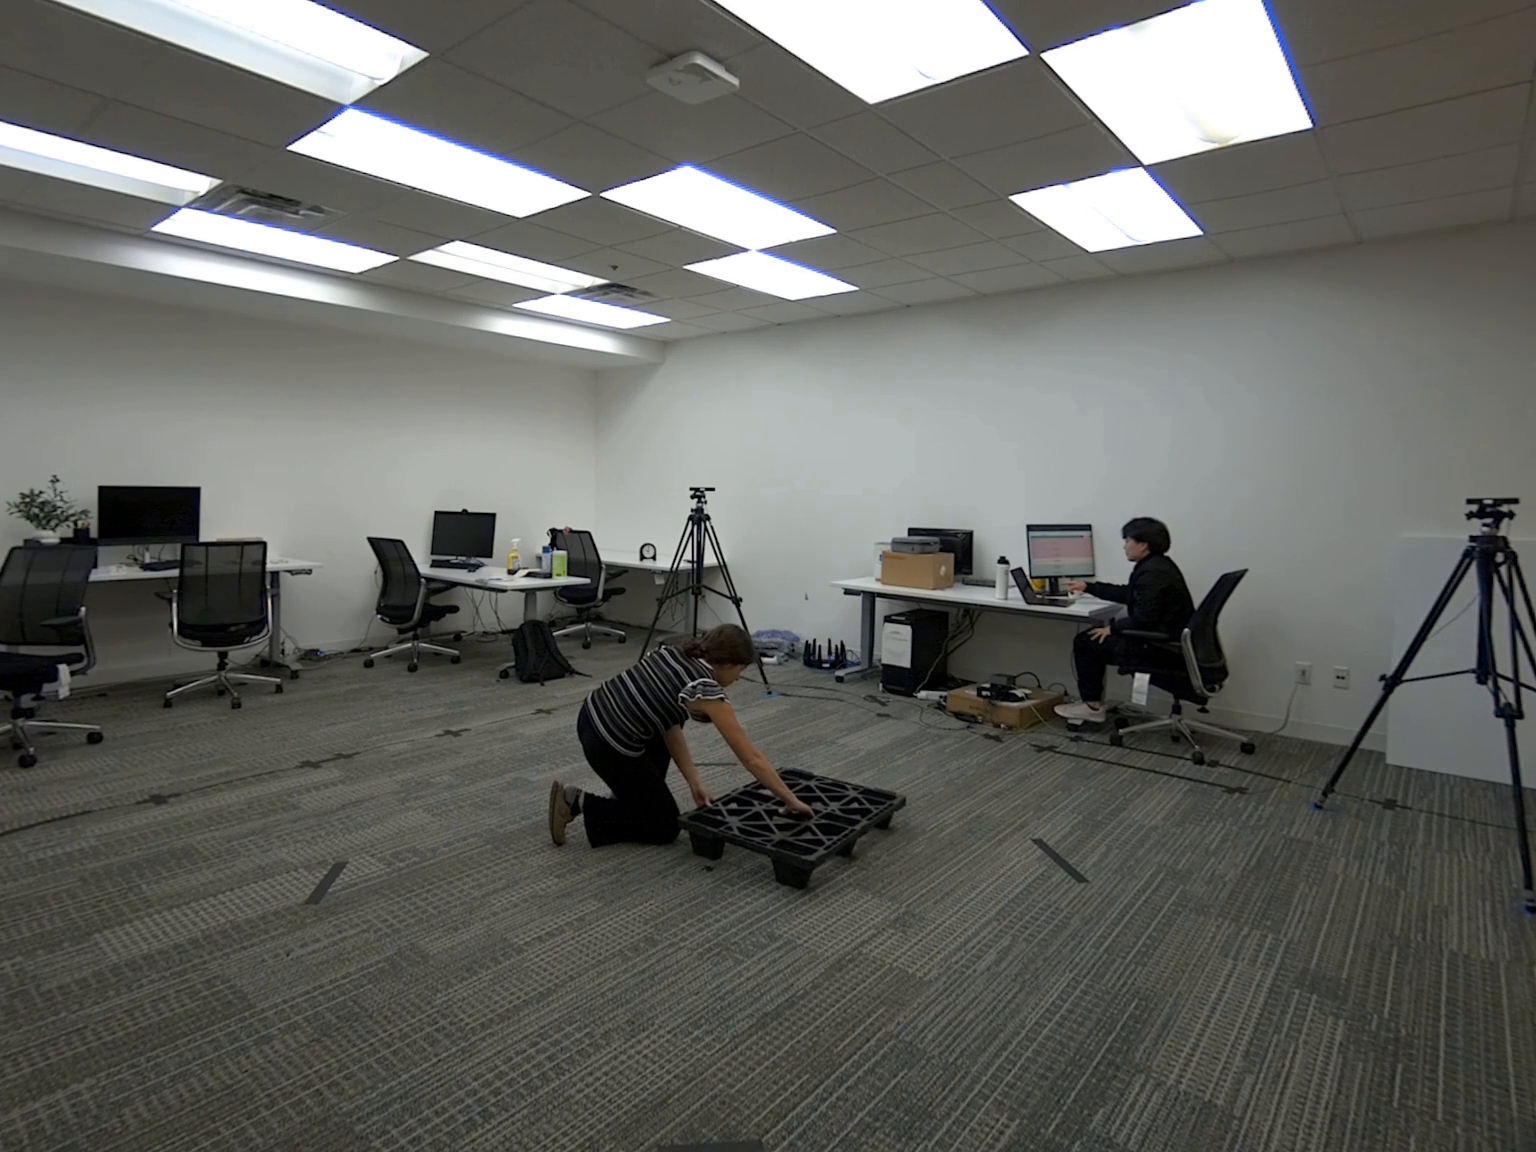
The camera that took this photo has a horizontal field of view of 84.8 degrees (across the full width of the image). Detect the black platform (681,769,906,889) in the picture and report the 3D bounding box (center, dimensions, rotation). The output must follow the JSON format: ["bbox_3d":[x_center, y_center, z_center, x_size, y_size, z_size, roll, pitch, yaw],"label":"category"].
[{"bbox_3d":[0.108,0.976,3.379,0.625,0.143,0.783,6,7,34],"label":"black platform"}]
